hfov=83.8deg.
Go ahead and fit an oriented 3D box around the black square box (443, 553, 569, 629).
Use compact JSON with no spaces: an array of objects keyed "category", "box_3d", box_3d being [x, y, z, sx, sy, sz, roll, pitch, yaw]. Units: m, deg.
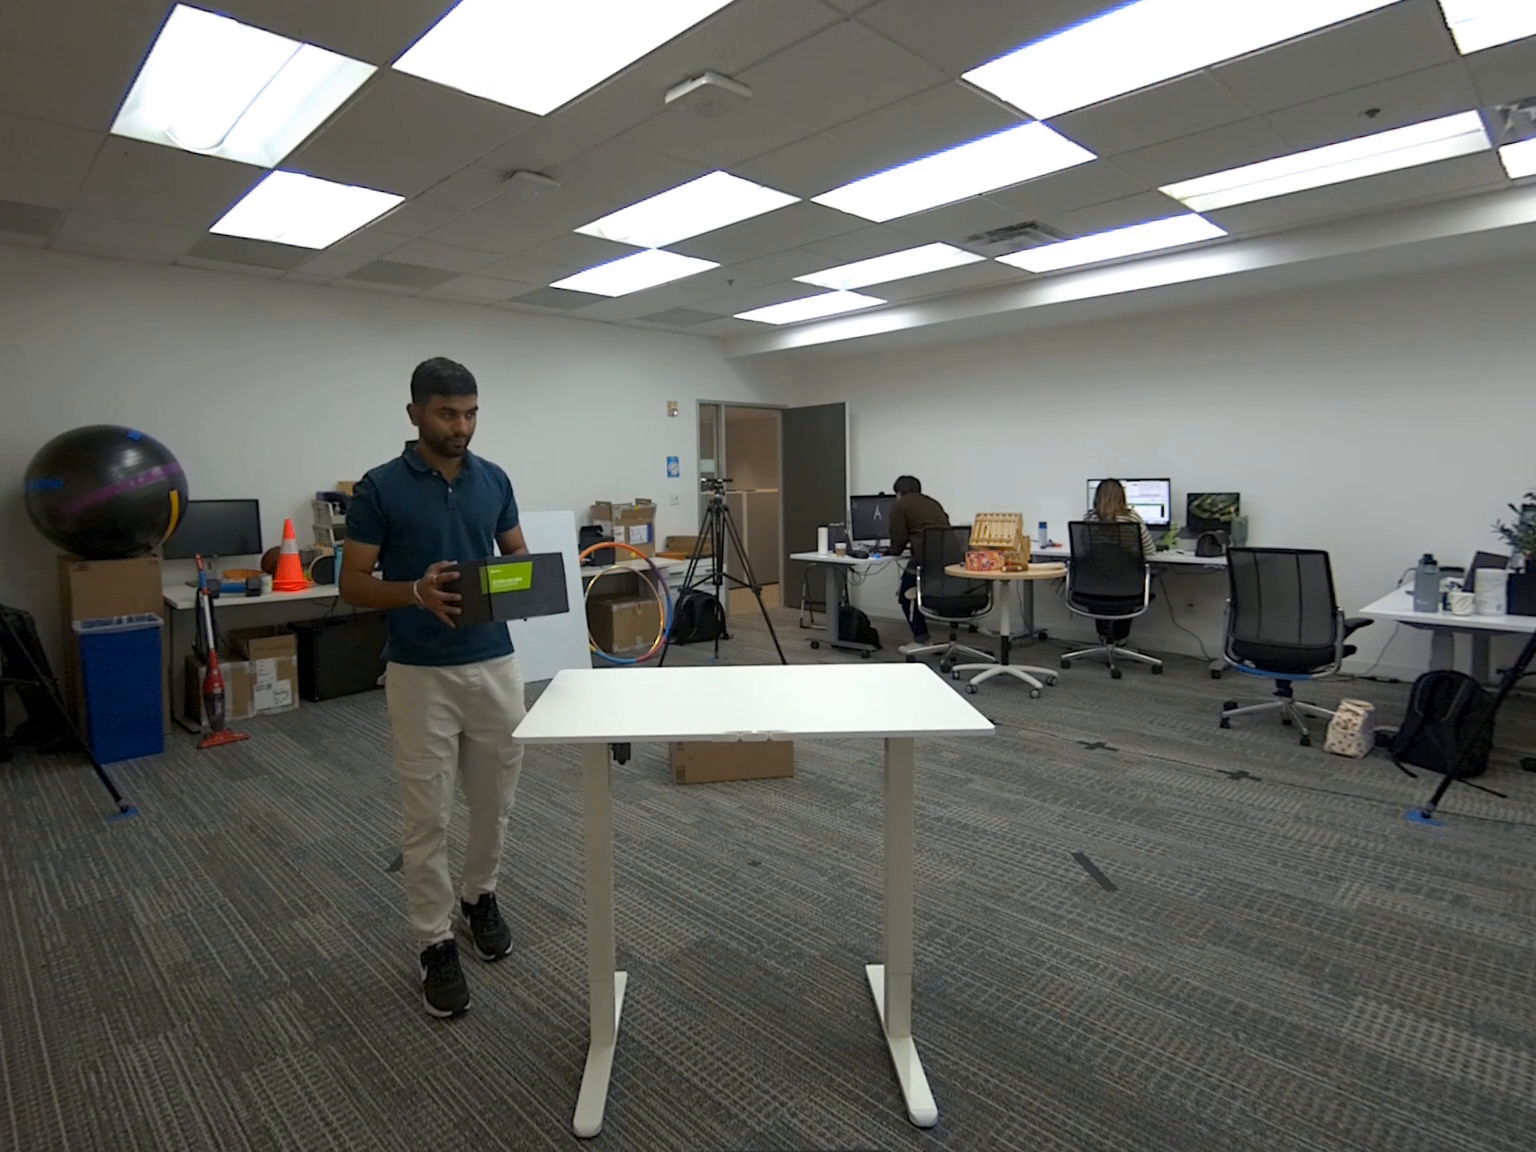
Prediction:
[{"category":"black square box","box_3d":[-0.664,0.037,2.164,0.222,0.157,0.222,-12,-5,43]}]
